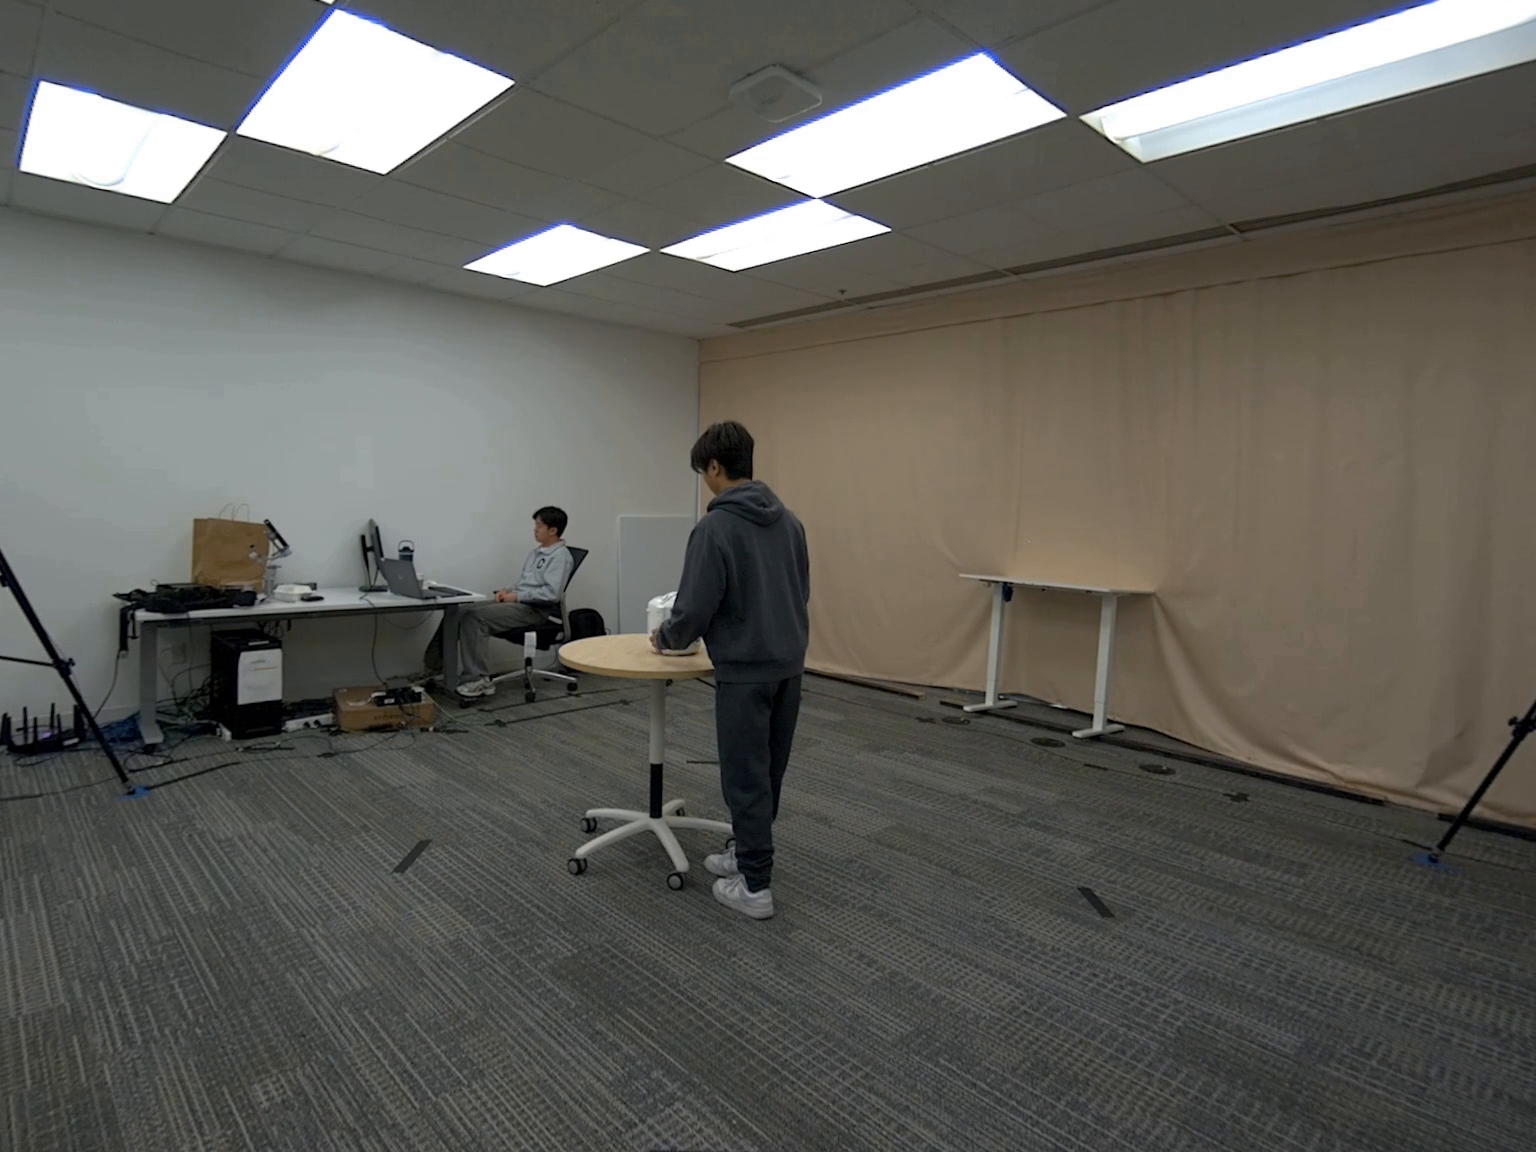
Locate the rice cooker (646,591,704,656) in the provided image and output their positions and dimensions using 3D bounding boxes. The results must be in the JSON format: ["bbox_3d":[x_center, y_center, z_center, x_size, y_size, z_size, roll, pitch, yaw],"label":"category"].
[{"bbox_3d":[-0.363,0.178,3.231,0.222,0.232,0.216,3,4,30],"label":"rice cooker"}]
